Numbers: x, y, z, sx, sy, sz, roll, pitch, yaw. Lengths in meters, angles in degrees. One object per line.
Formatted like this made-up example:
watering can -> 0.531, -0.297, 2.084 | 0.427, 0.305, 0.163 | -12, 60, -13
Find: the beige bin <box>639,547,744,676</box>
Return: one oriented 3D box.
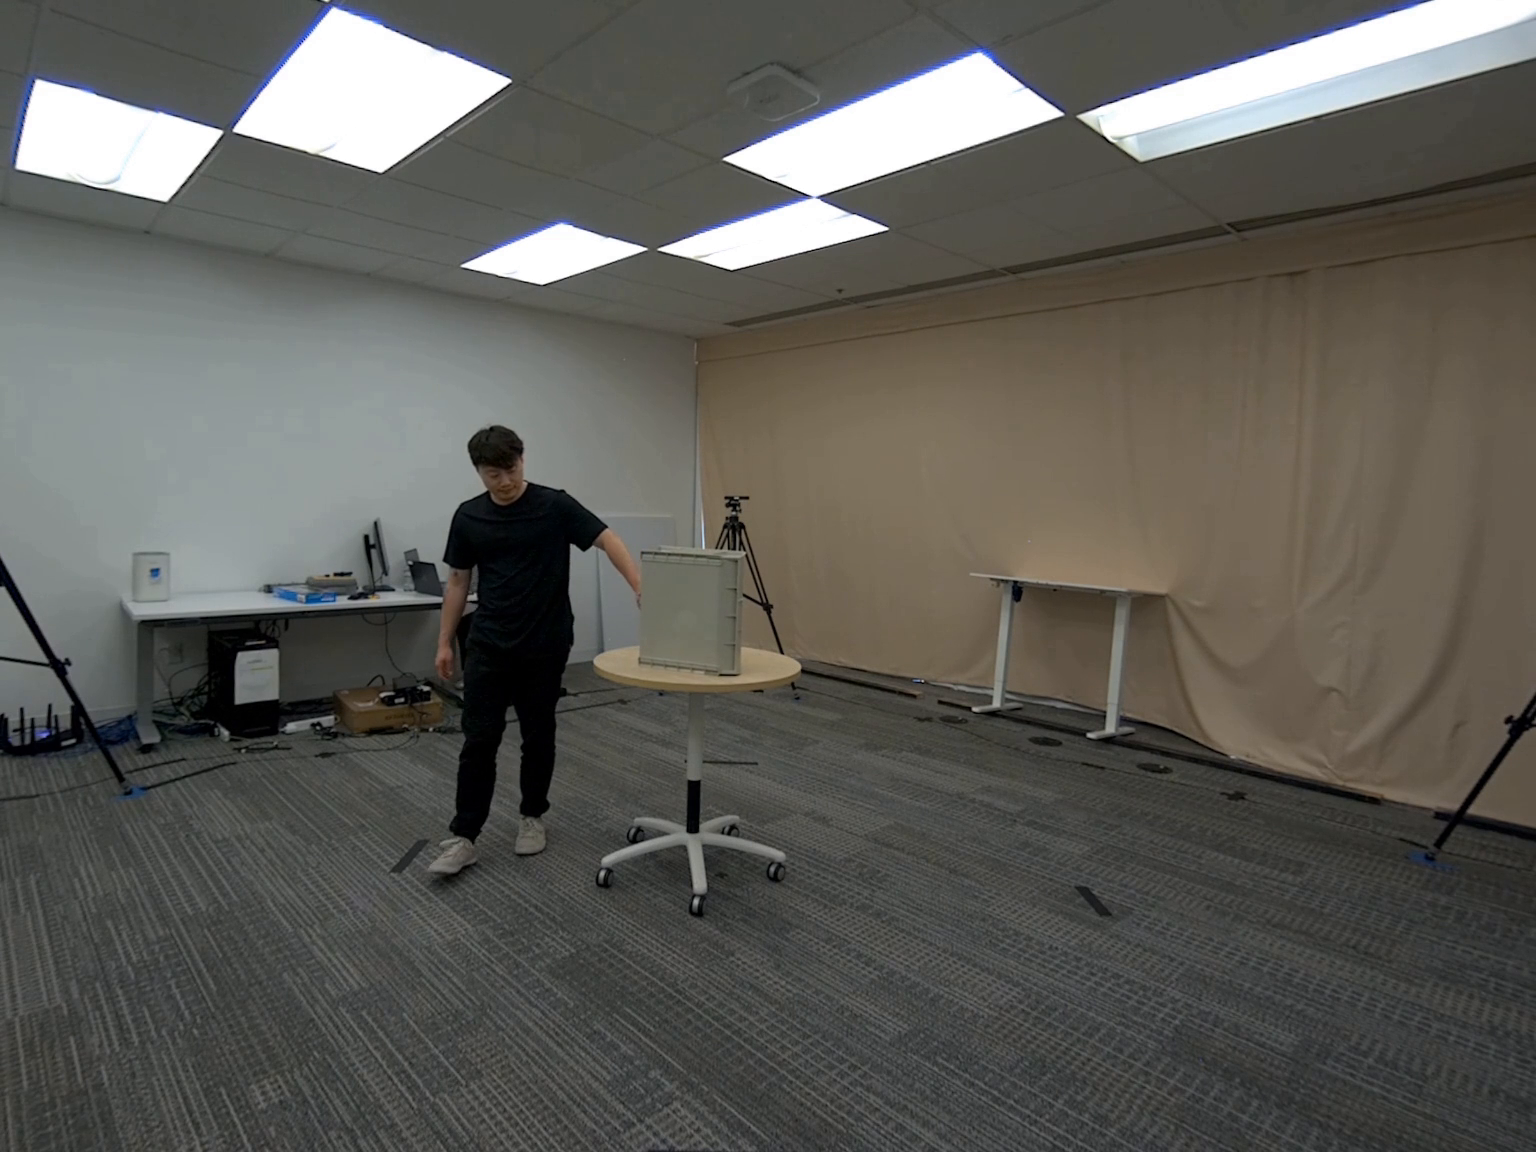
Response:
beige bin -> -0.276, 0.120, 2.981 | 0.384, 0.421, 0.186 | 4, 5, 22
